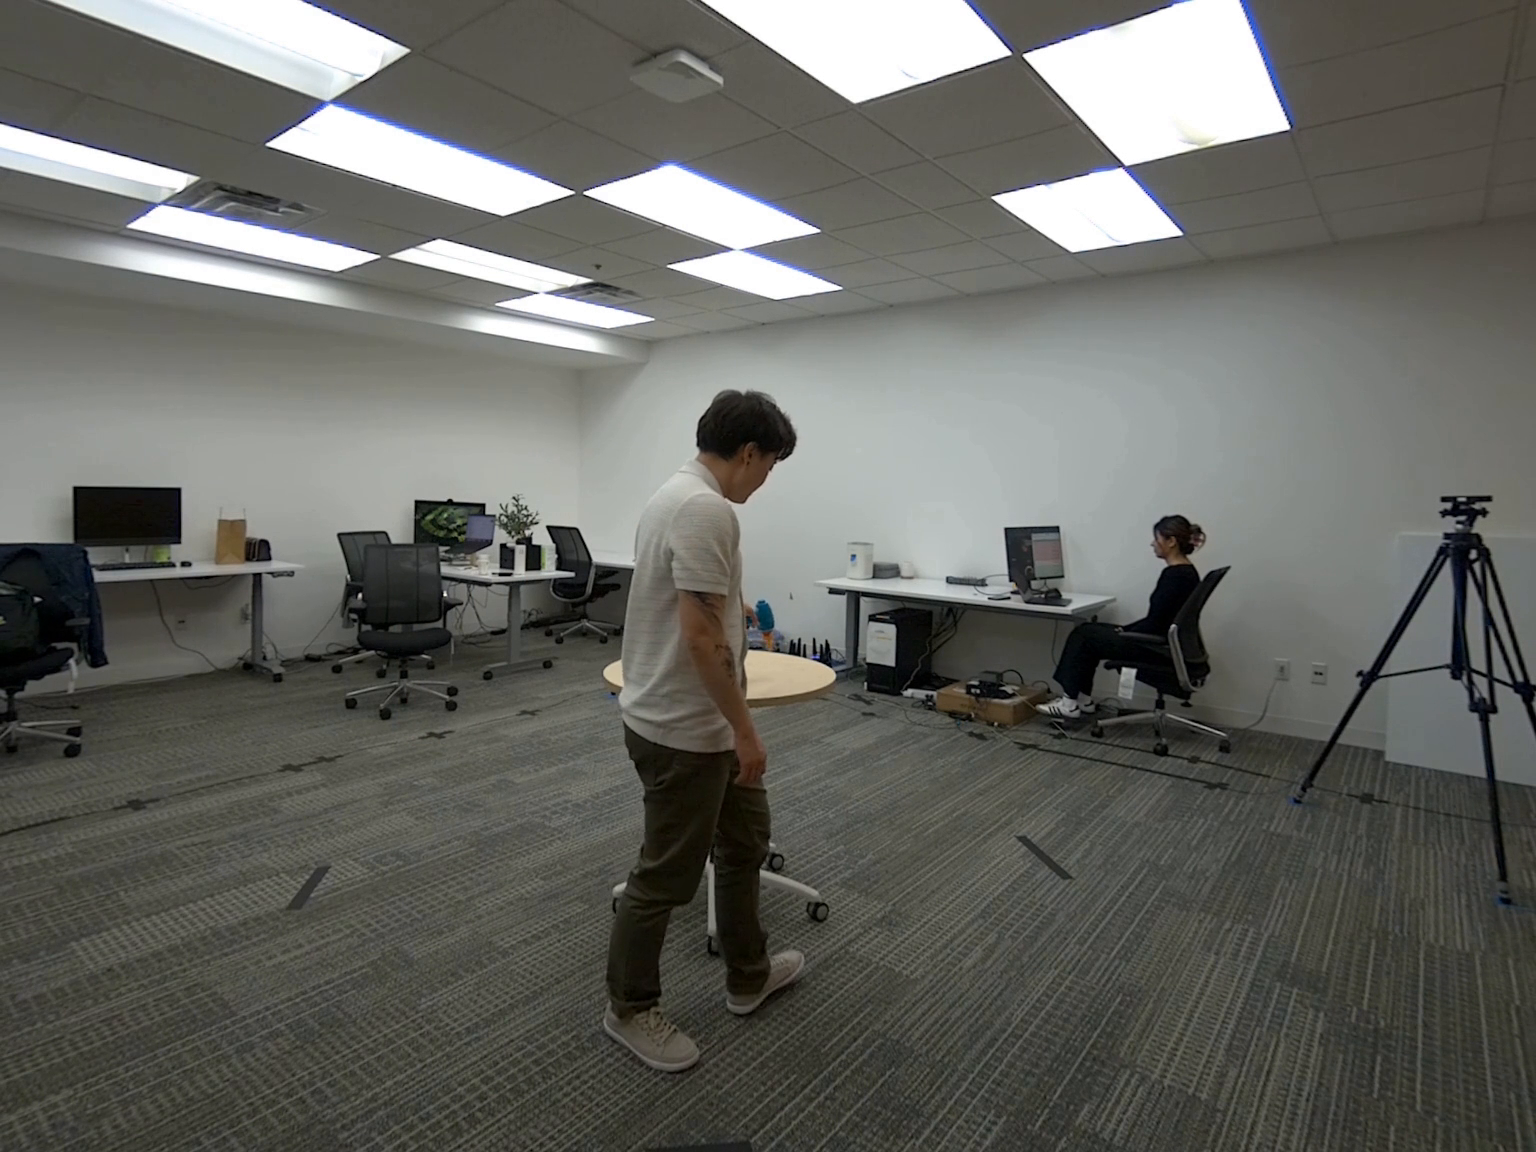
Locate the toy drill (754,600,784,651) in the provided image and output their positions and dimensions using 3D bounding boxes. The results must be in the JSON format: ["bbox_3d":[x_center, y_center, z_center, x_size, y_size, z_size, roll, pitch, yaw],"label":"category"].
[{"bbox_3d":[-0.048,0.166,2.656,0.143,0.167,0.063,-14,17,-25],"label":"toy drill"}]
